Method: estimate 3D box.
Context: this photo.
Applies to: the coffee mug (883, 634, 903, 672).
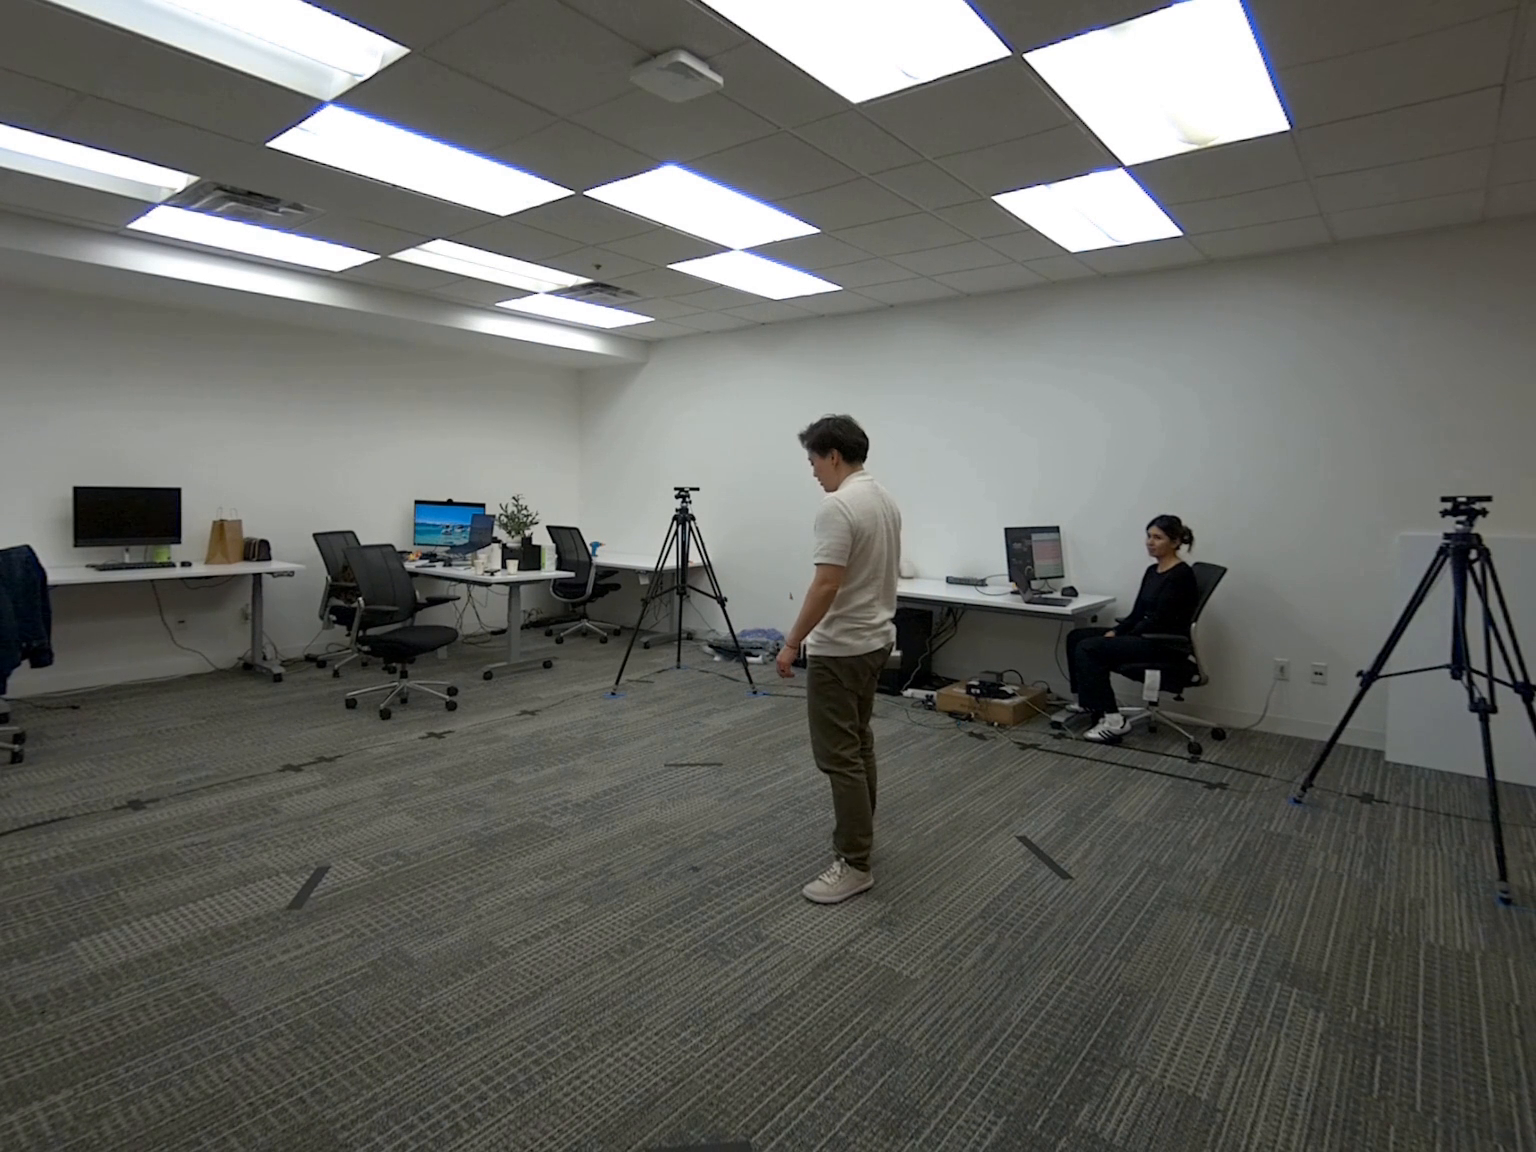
[{"bbox_3d":[0.440,0.314,3.443,0.205,0.120,0.088,-1,16,8],"label":"coffee mug"}]
